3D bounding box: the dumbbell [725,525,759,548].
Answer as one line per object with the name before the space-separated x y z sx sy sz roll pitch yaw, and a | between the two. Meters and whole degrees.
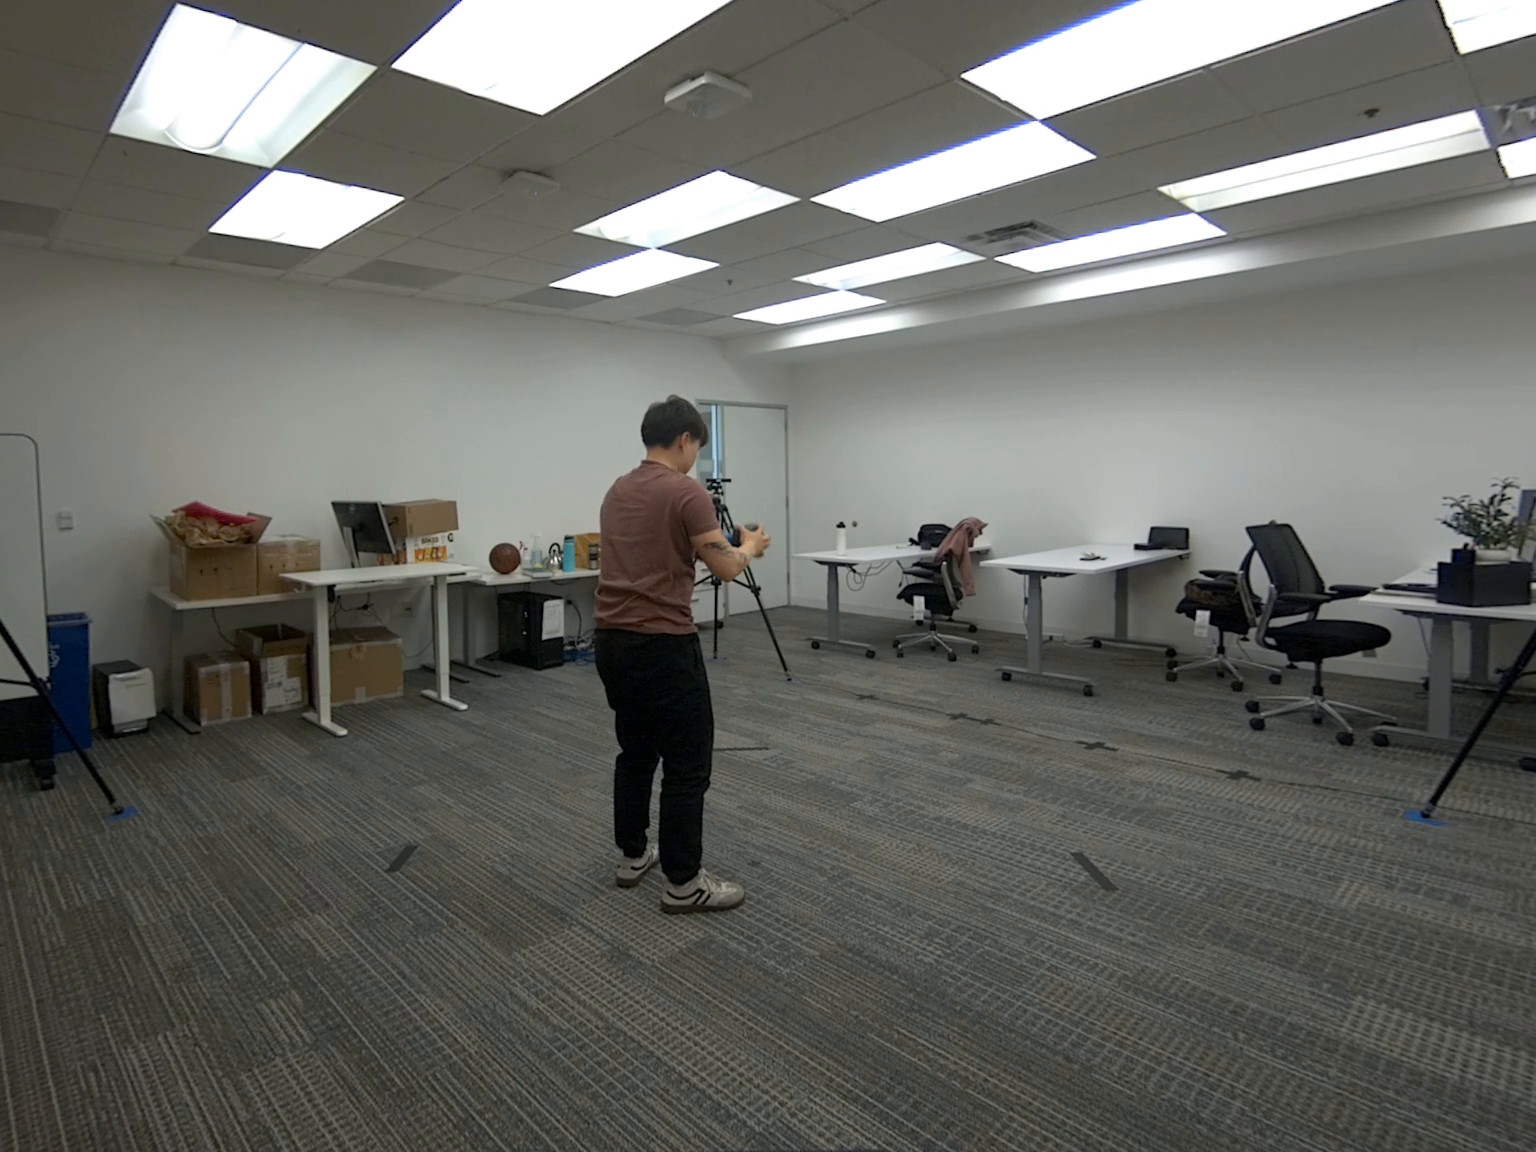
dumbbell | -0.163 -0.116 3.077 0.301 0.124 0.105 -3 -42 41
